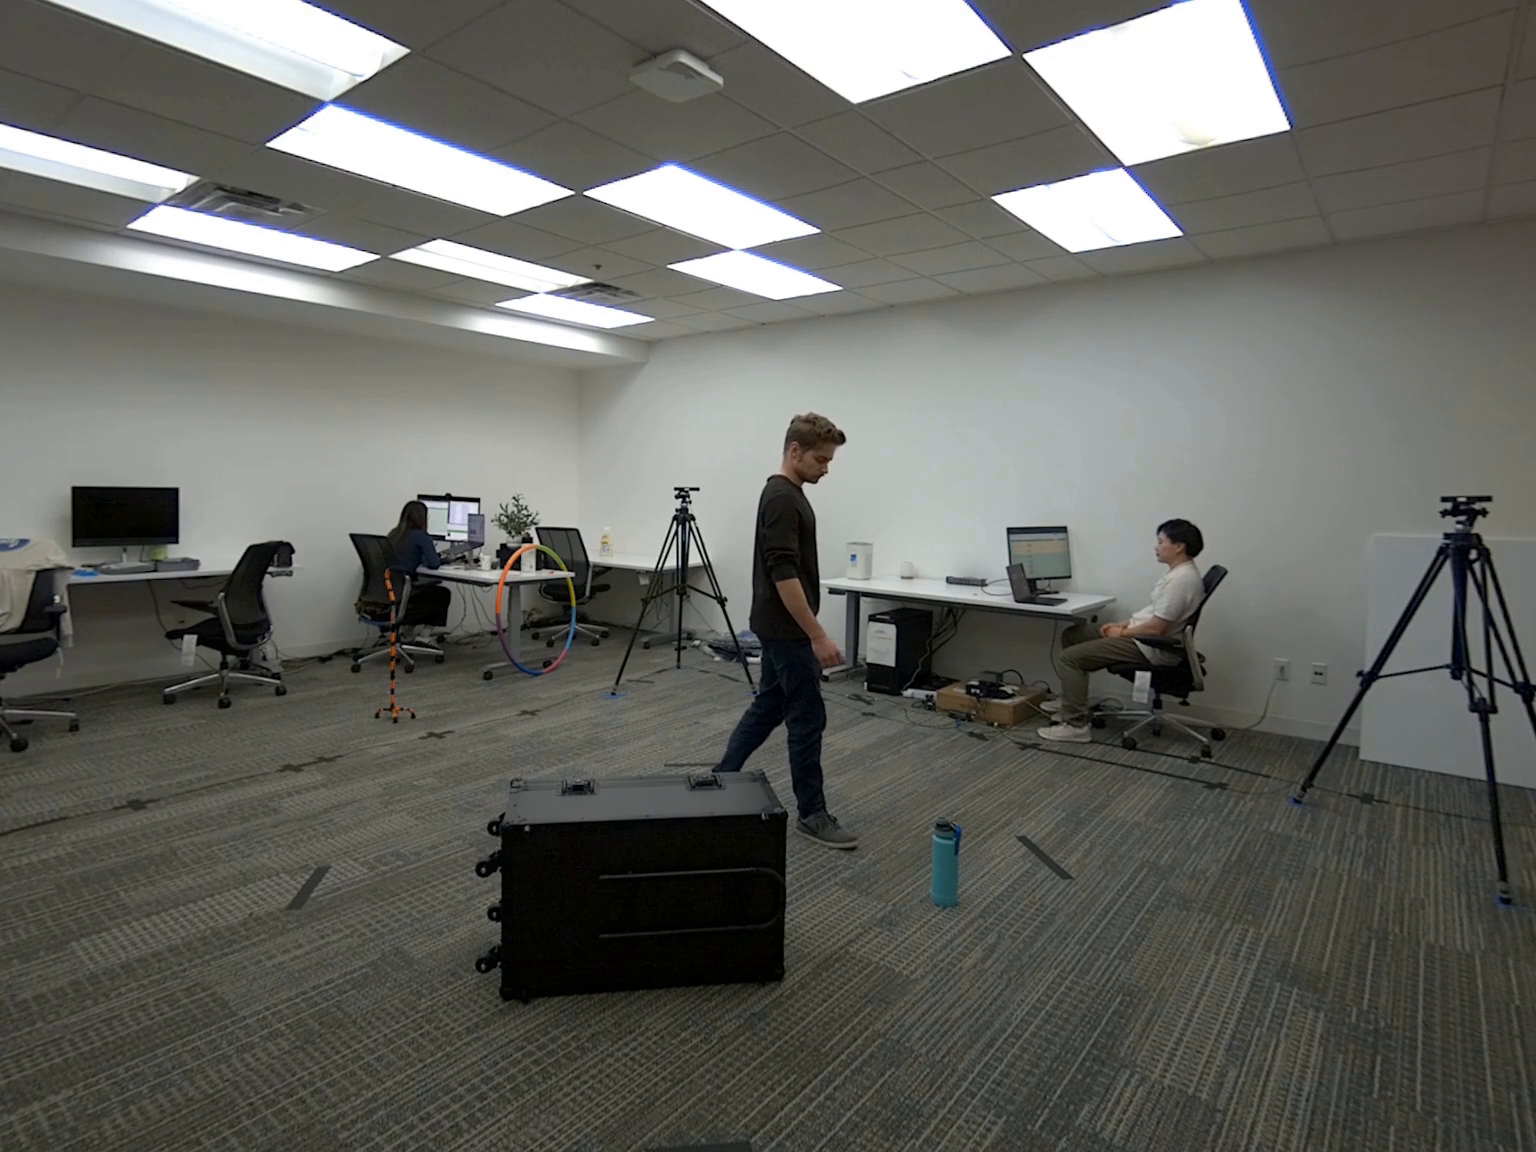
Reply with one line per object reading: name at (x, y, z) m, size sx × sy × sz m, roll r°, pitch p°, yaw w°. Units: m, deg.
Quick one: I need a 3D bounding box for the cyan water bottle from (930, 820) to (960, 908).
cyan water bottle at (0.602, 0.965, 2.897) m, size 0.092 × 0.282 × 0.093 m, roll 2°, pitch 4°, yaw -2°
